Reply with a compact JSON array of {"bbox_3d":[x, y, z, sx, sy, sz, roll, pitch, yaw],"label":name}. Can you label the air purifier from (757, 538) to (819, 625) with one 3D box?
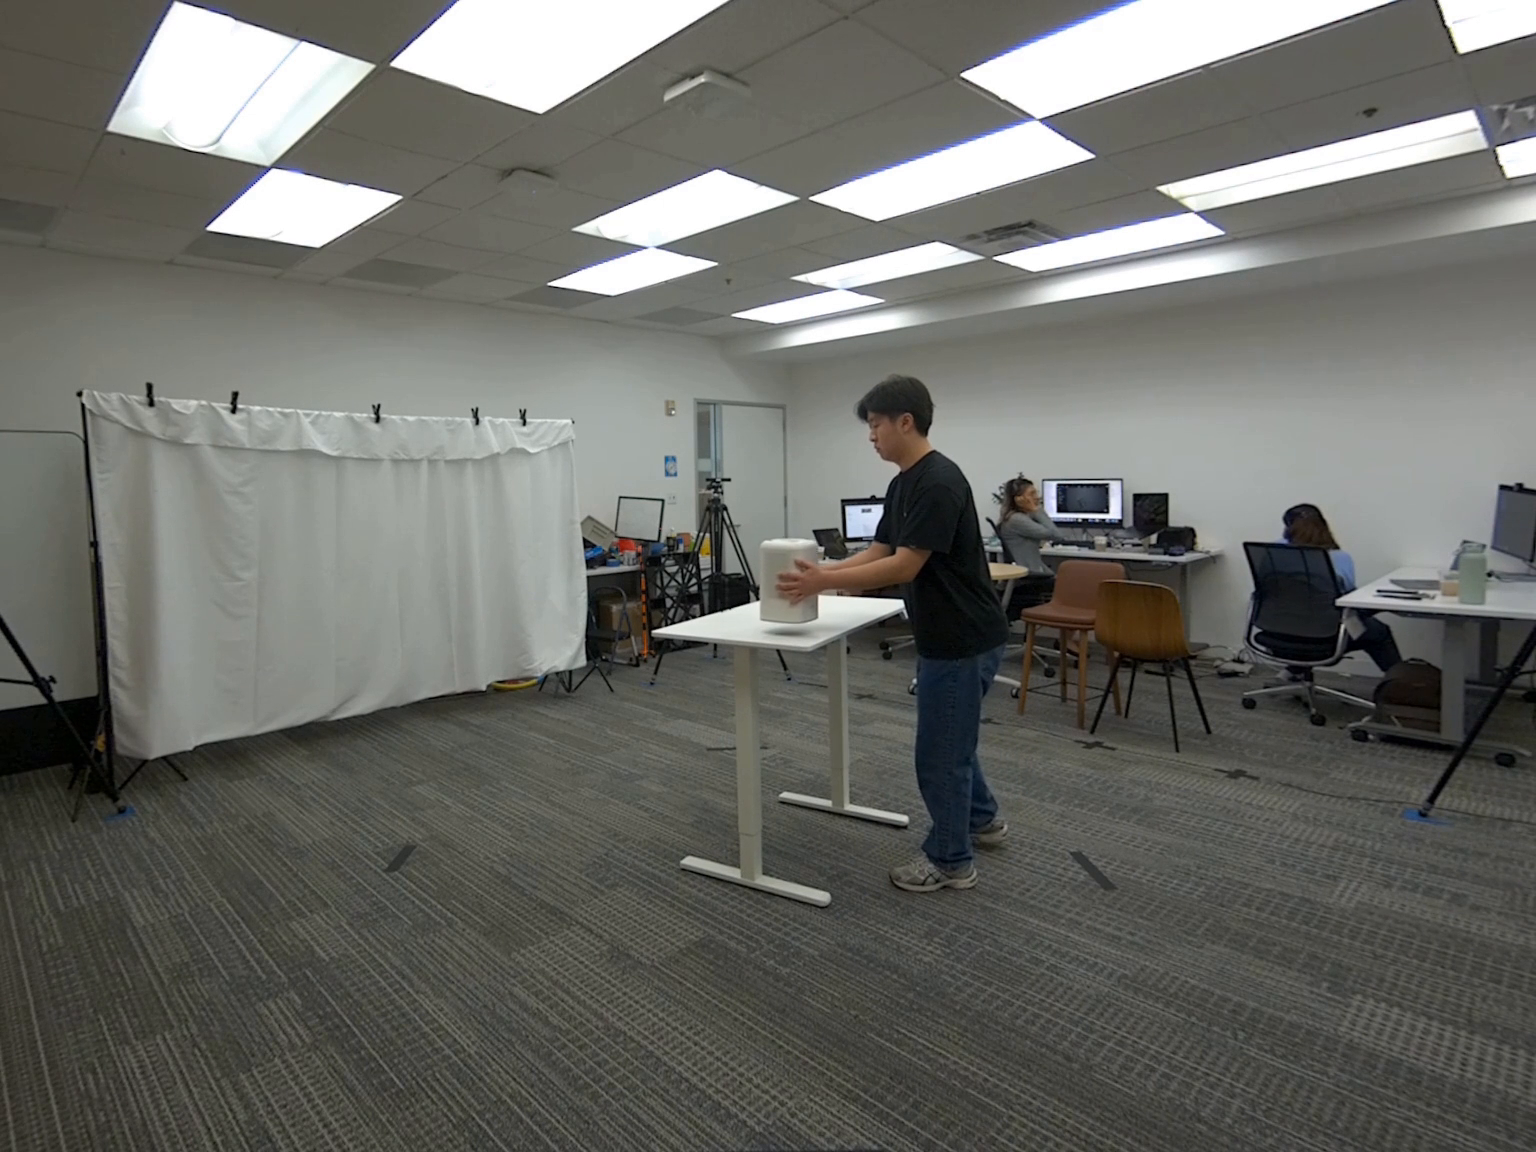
[{"bbox_3d":[0.081,0.013,2.844,0.176,0.264,0.167,3,5,29],"label":"air purifier"}]
